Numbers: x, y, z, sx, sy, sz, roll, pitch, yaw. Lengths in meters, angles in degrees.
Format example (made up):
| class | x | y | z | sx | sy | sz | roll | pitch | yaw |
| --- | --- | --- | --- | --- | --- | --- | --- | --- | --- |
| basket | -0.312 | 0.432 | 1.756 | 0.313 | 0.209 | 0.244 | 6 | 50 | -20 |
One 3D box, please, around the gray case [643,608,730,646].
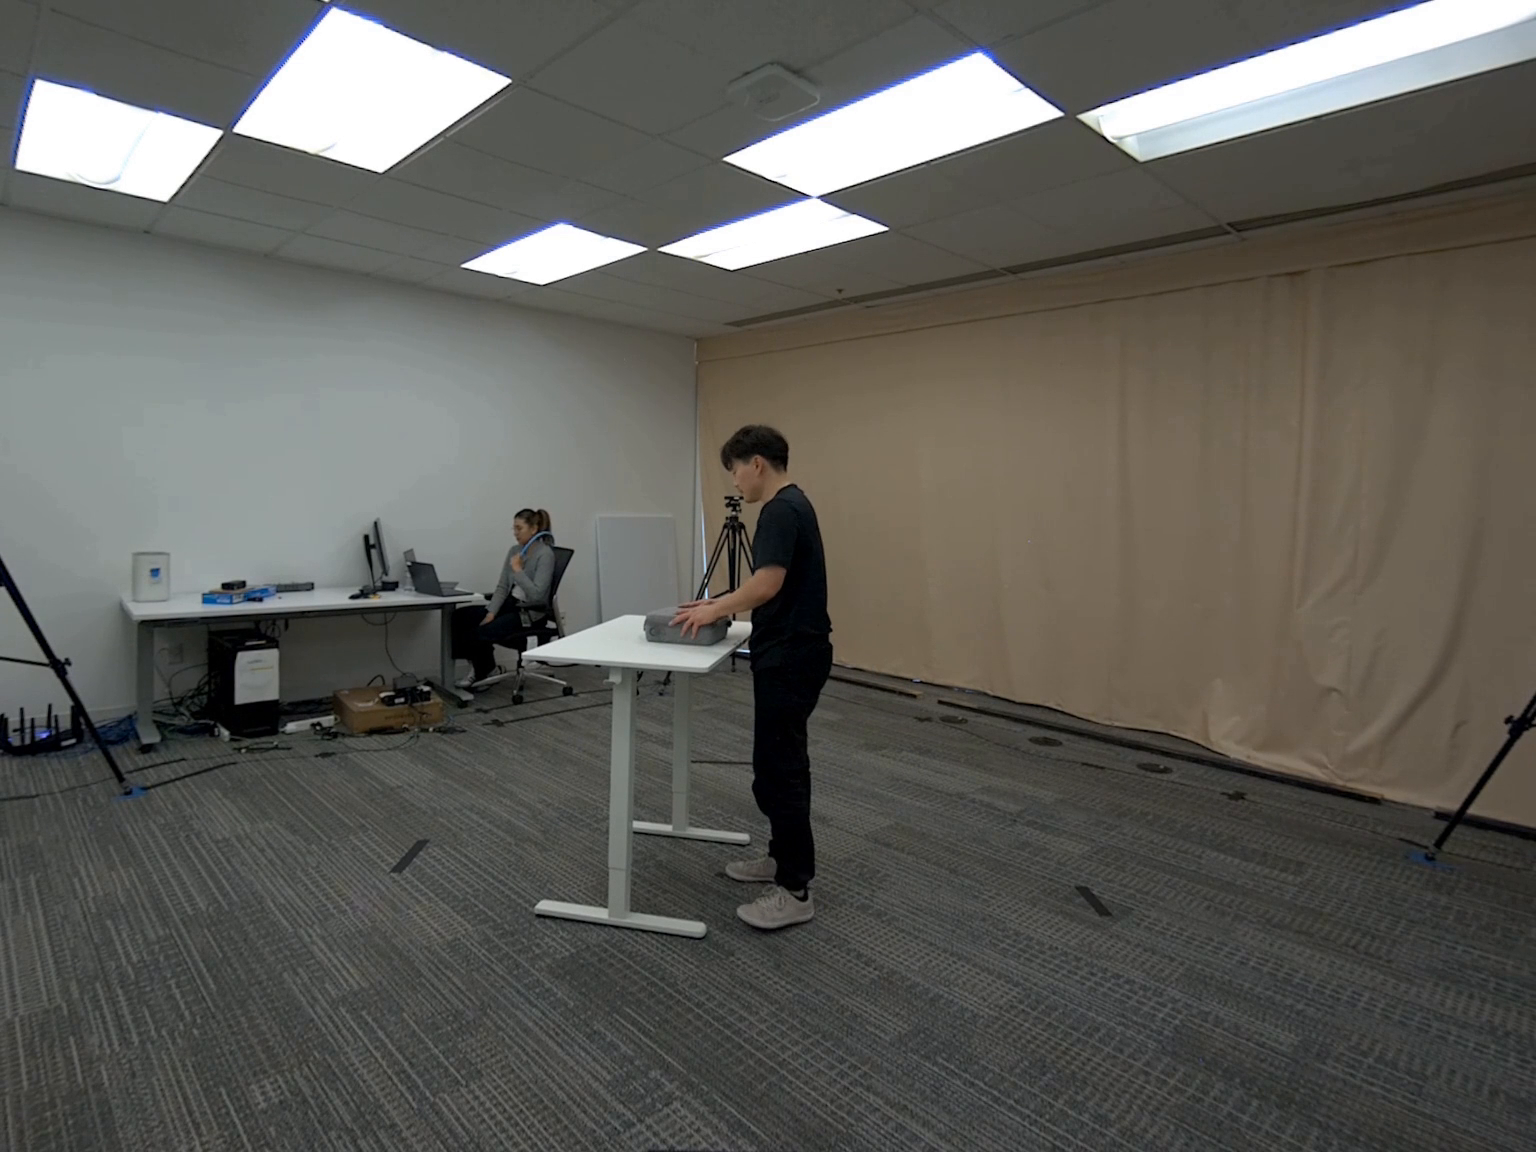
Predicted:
| class | x | y | z | sx | sy | sz | roll | pitch | yaw |
| --- | --- | --- | --- | --- | --- | --- | --- | --- | --- |
| gray case | -0.298 | 0.176 | 3.019 | 0.264 | 0.104 | 0.255 | 3 | 6 | 14 |
